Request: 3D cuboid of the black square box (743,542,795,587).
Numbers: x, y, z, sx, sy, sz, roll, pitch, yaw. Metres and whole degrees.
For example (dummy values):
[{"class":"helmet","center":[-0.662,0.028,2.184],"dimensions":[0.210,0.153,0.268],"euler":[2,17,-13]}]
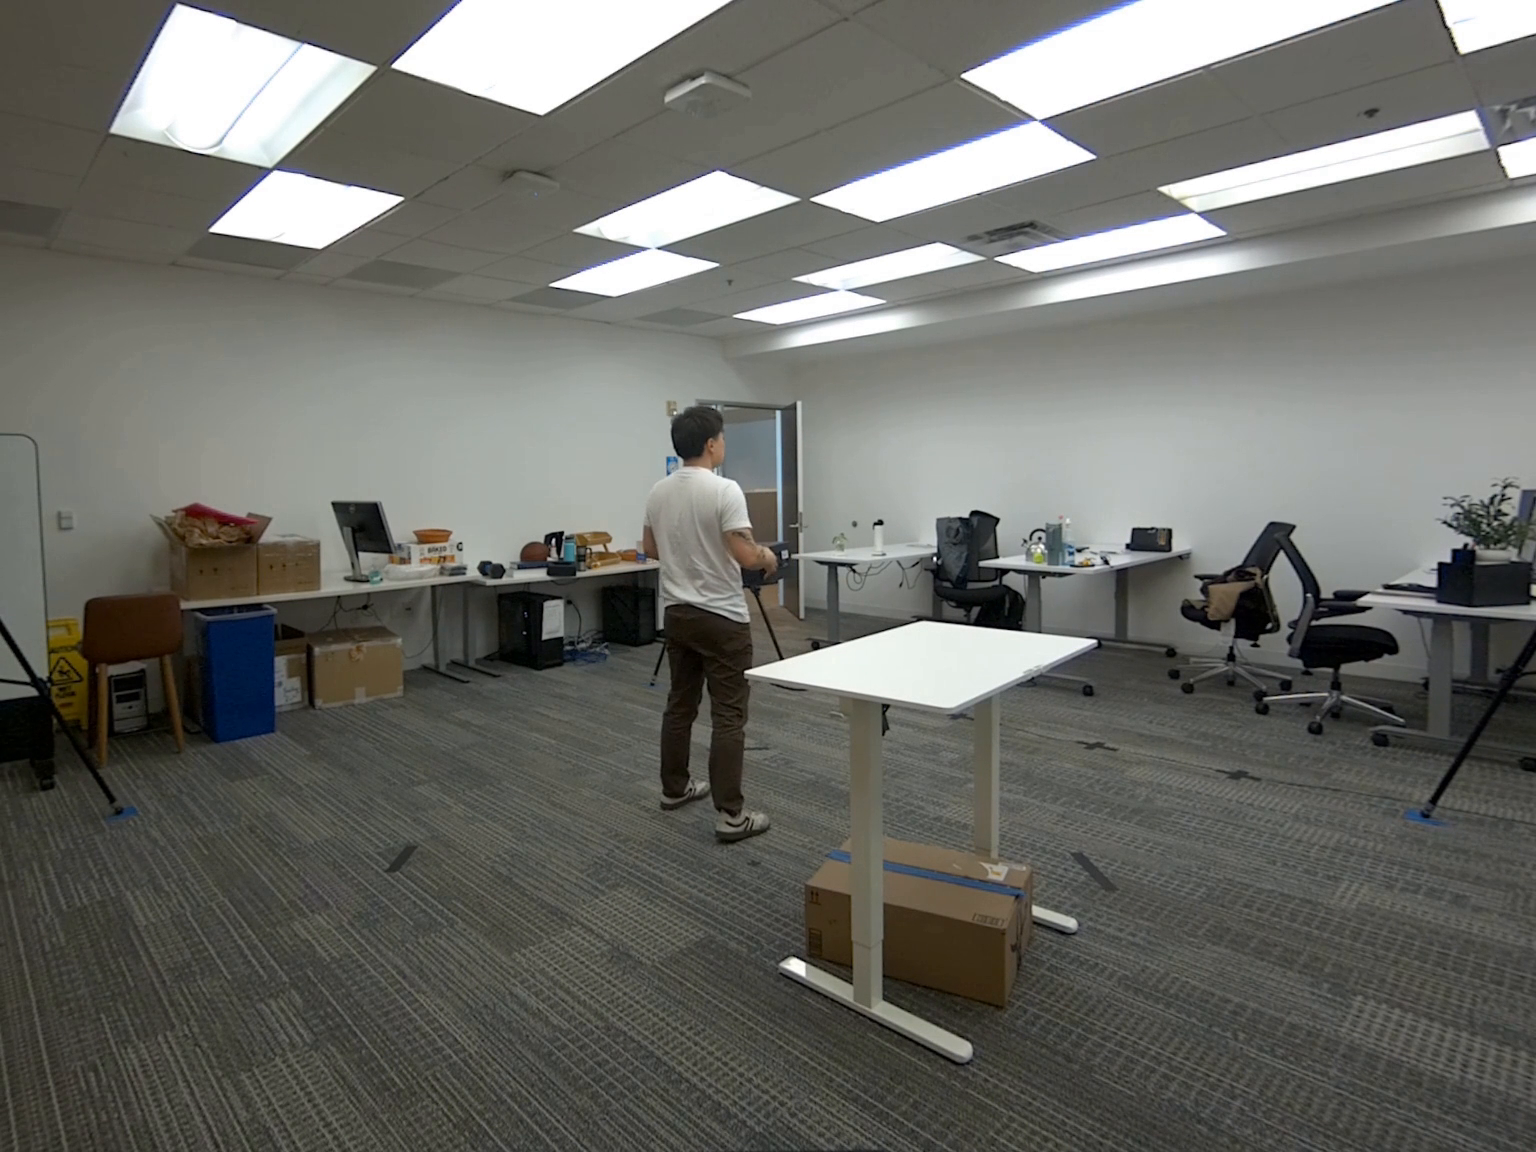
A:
[{"class":"black square box","center":[-0.049,-0.055,3.752],"dimensions":[0.234,0.155,0.212],"euler":[1,10,42]}]
